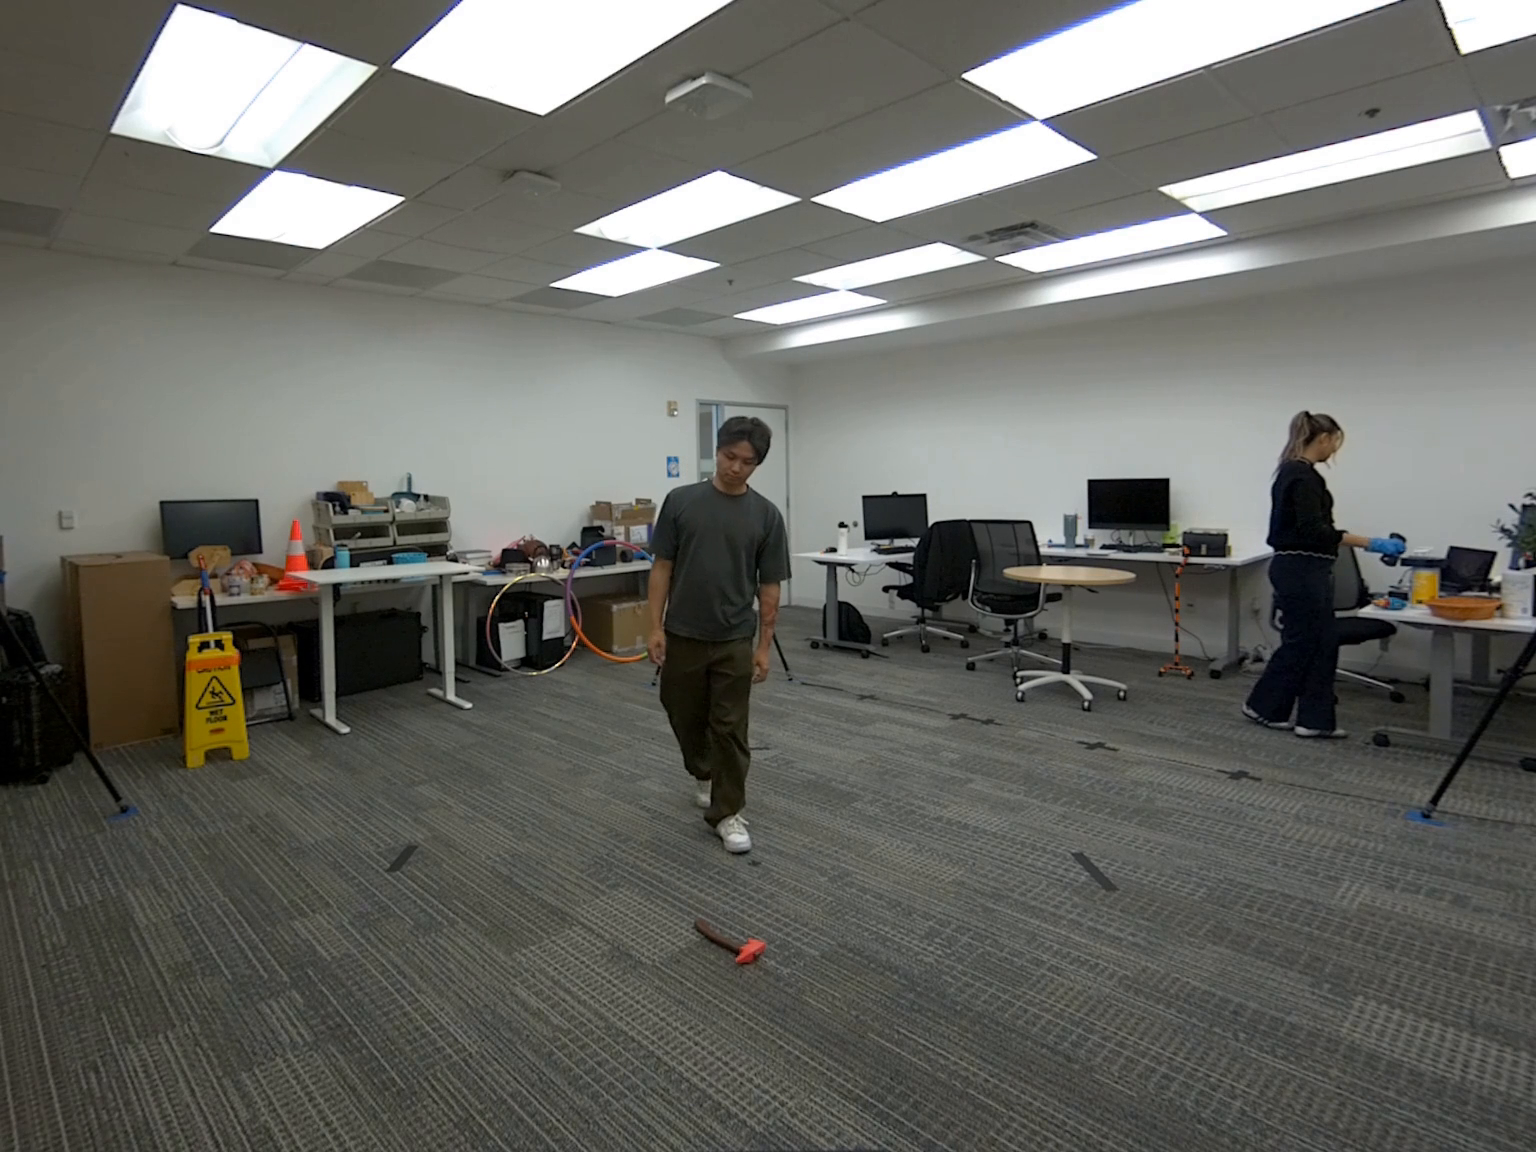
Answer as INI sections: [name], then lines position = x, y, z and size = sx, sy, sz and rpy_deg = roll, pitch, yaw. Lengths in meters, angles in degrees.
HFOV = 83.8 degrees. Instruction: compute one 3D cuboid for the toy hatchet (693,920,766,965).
[toy hatchet]
position = -0.105, 1.097, 2.584
size = 0.128, 0.029, 0.277
rpy_deg = -6, 7, -31
